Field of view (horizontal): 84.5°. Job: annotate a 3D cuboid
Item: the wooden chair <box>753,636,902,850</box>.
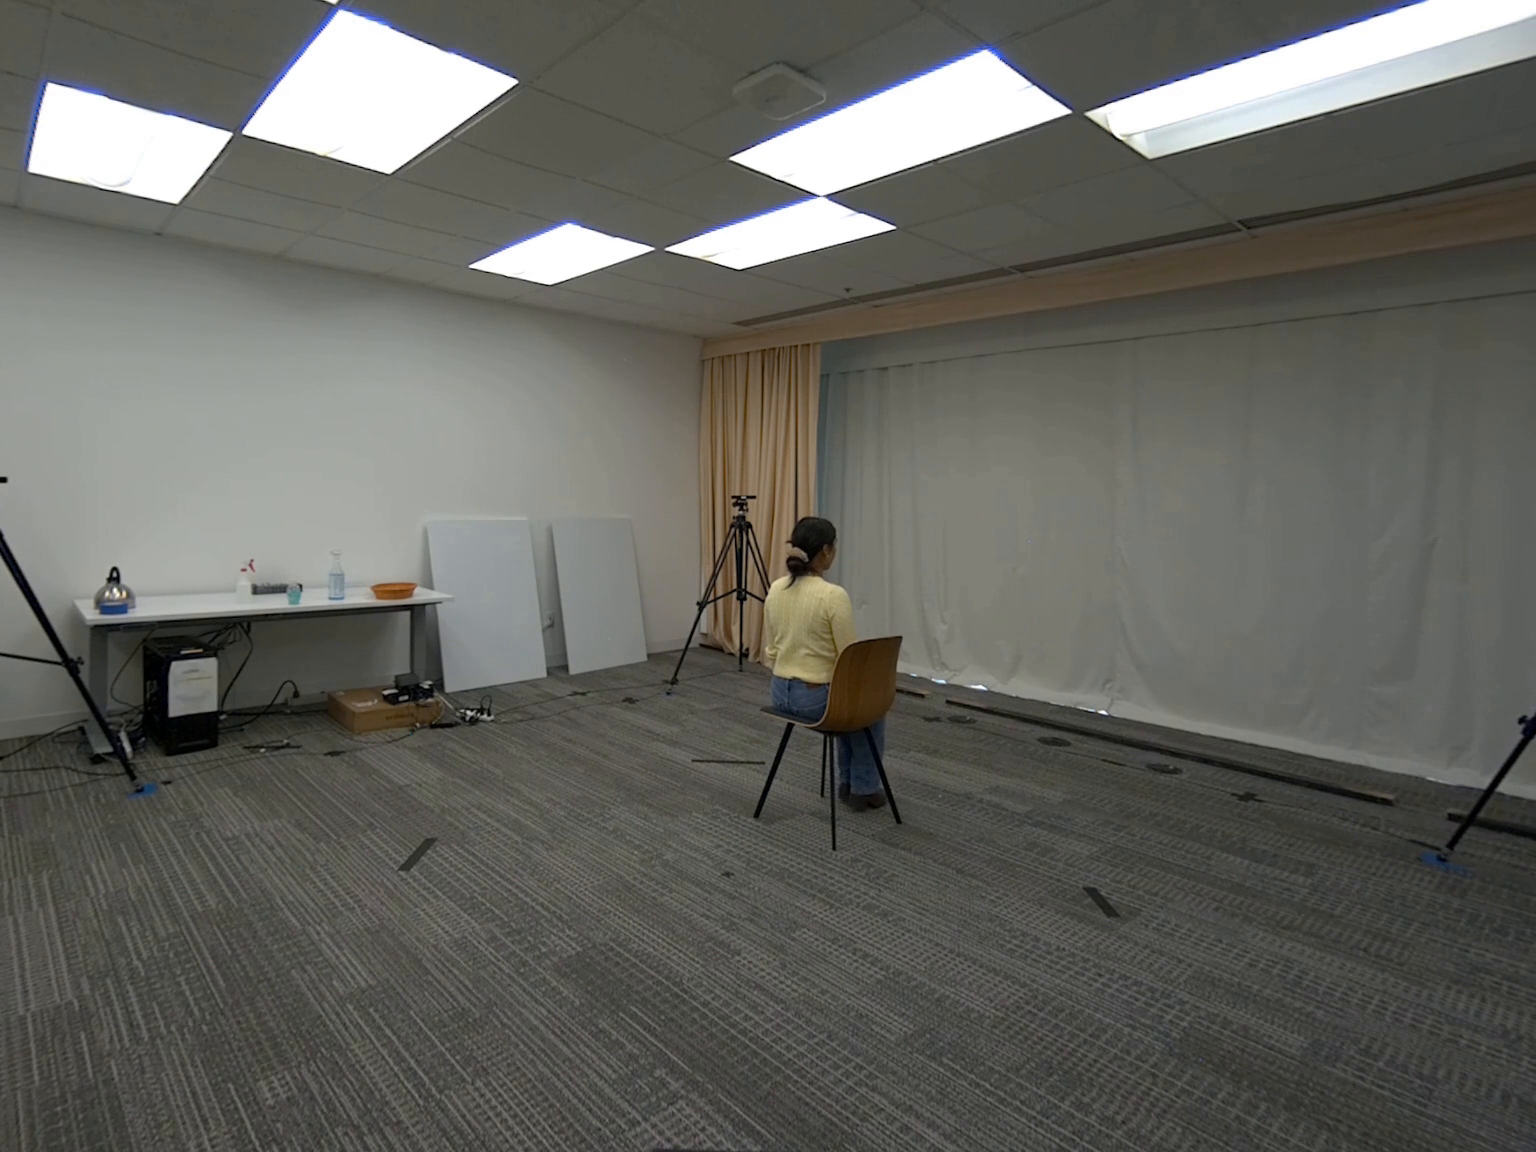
[{"bbox_3d":[0.253,0.640,3.625,0.467,0.874,0.537,-1,8,-44],"label":"wooden chair"}]
